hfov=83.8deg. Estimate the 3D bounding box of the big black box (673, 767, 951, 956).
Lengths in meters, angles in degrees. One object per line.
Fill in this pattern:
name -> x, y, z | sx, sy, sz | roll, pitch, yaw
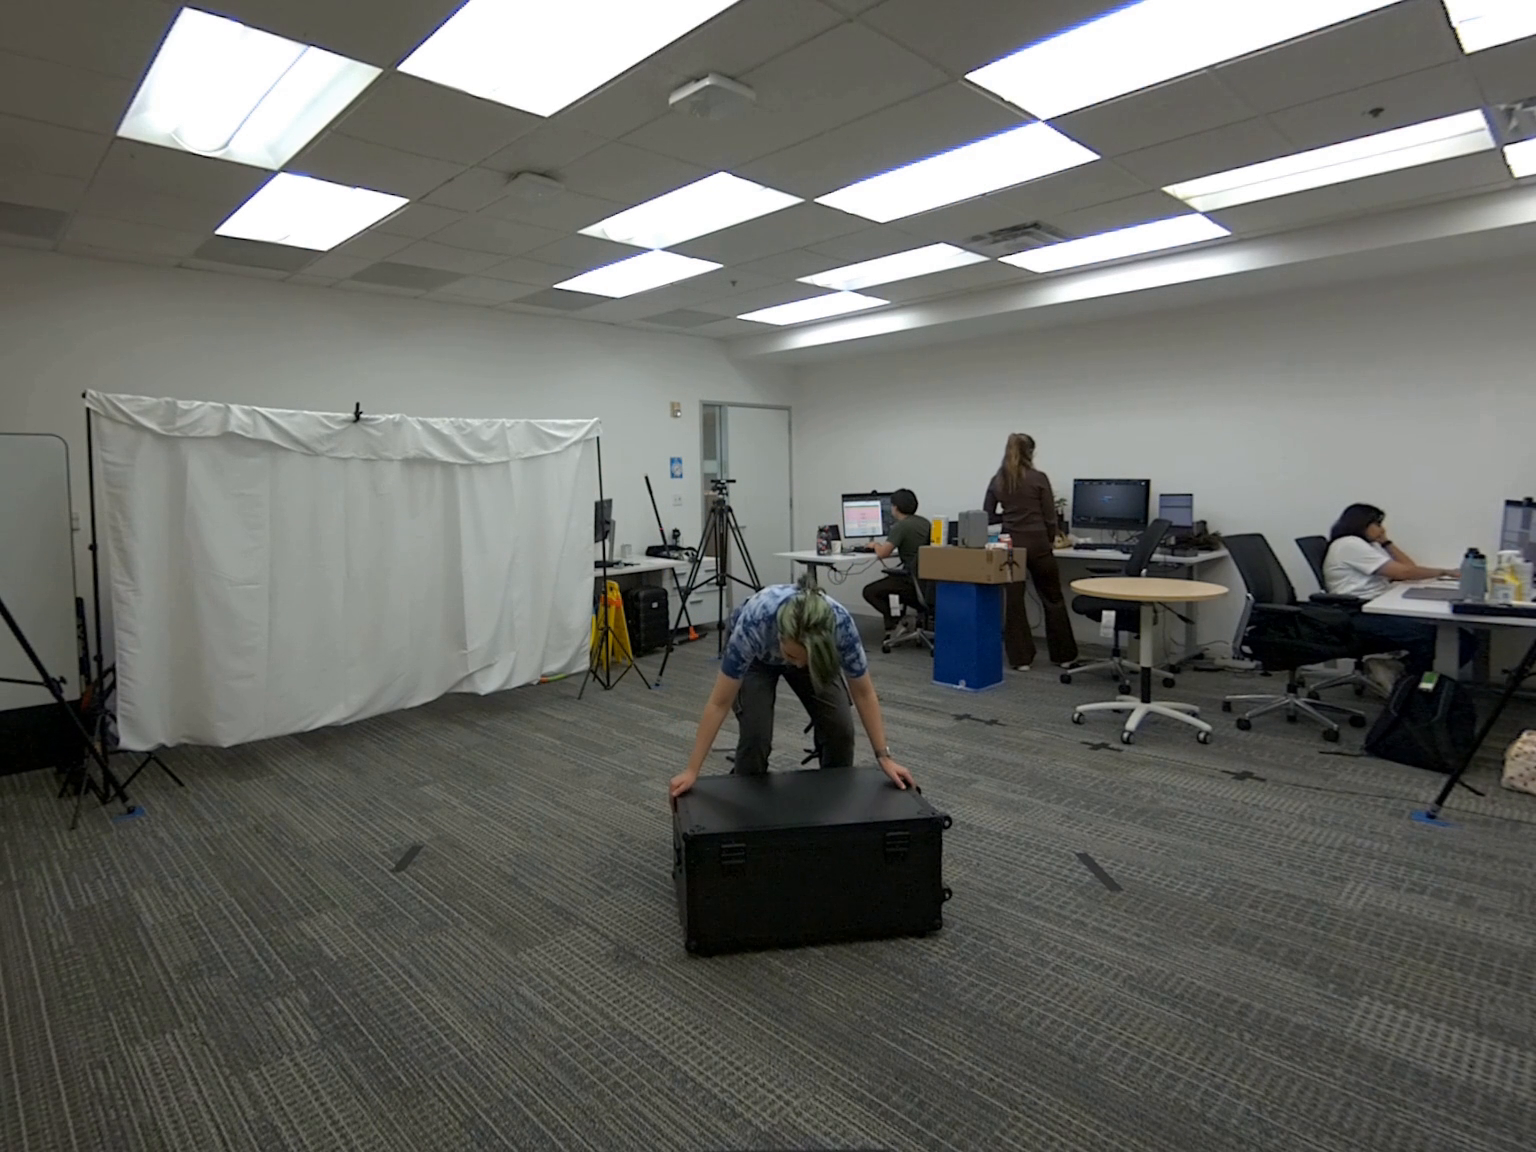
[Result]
big black box -> 0.075, 0.889, 2.762 | 0.853, 0.395, 0.529 | -2, 5, -11
